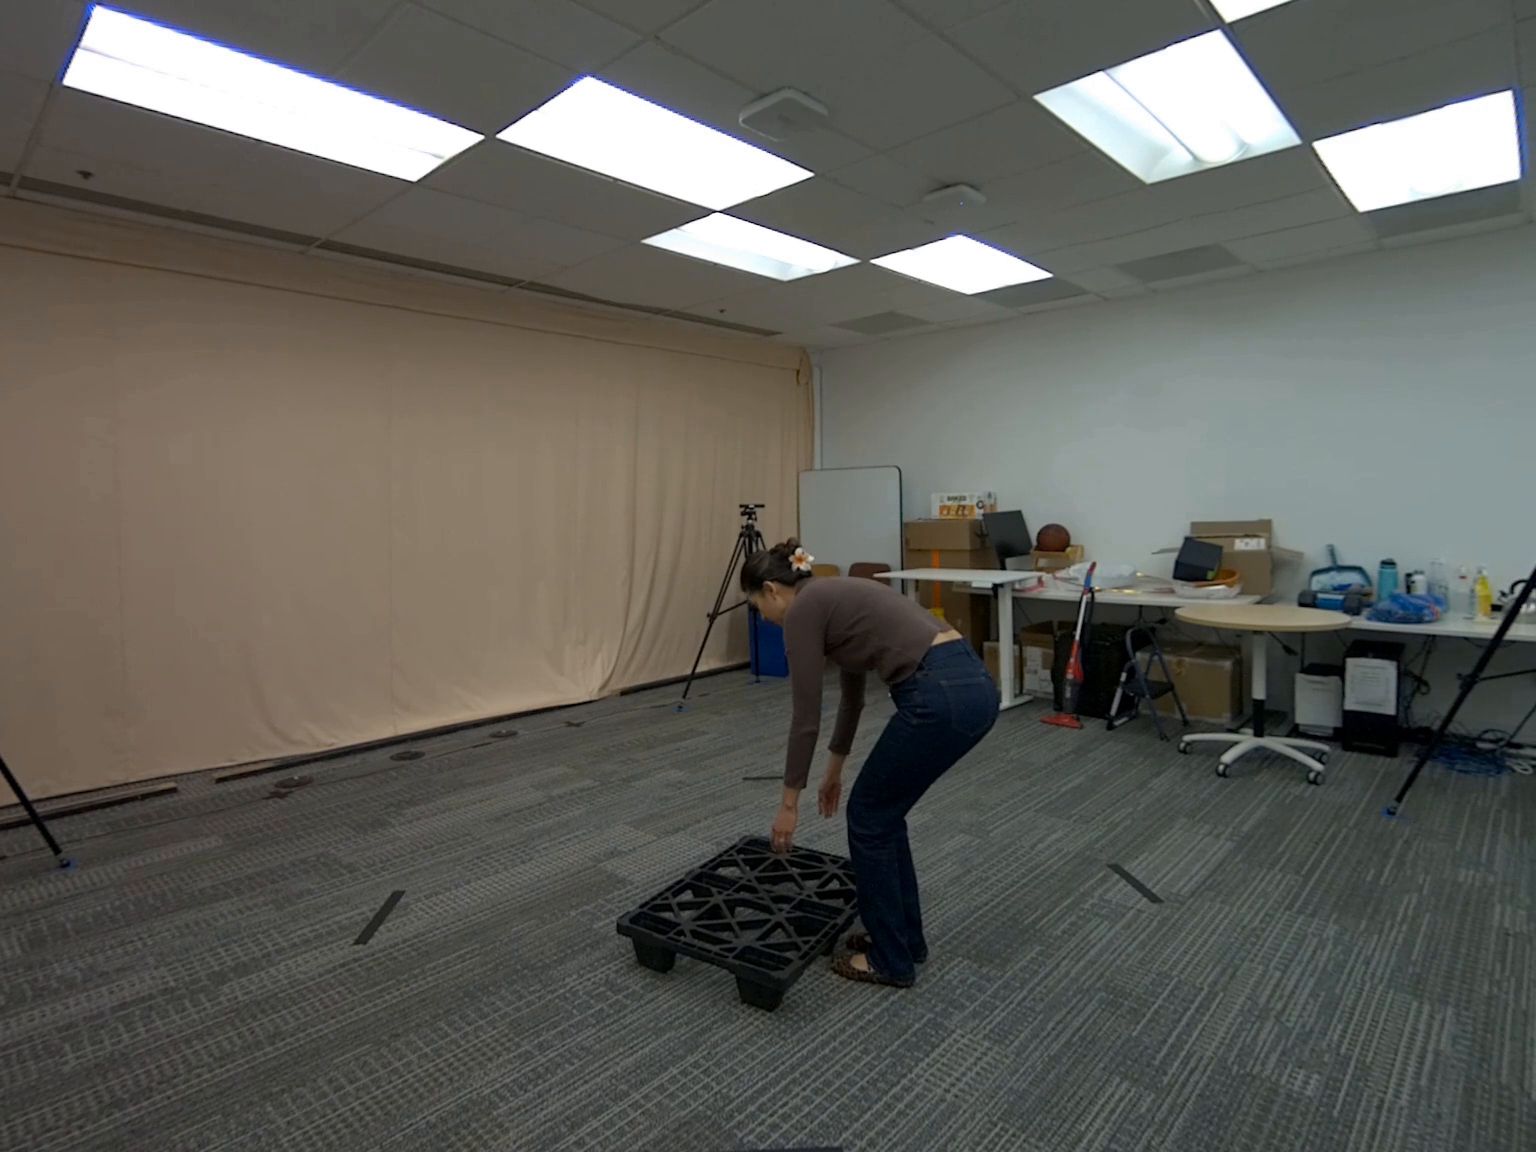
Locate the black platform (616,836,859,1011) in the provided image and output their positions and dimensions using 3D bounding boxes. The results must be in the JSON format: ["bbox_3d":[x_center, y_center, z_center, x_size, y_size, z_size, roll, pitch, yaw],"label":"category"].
[{"bbox_3d":[-0.015,1.095,2.731,0.623,0.143,0.784,2,5,32],"label":"black platform"}]
